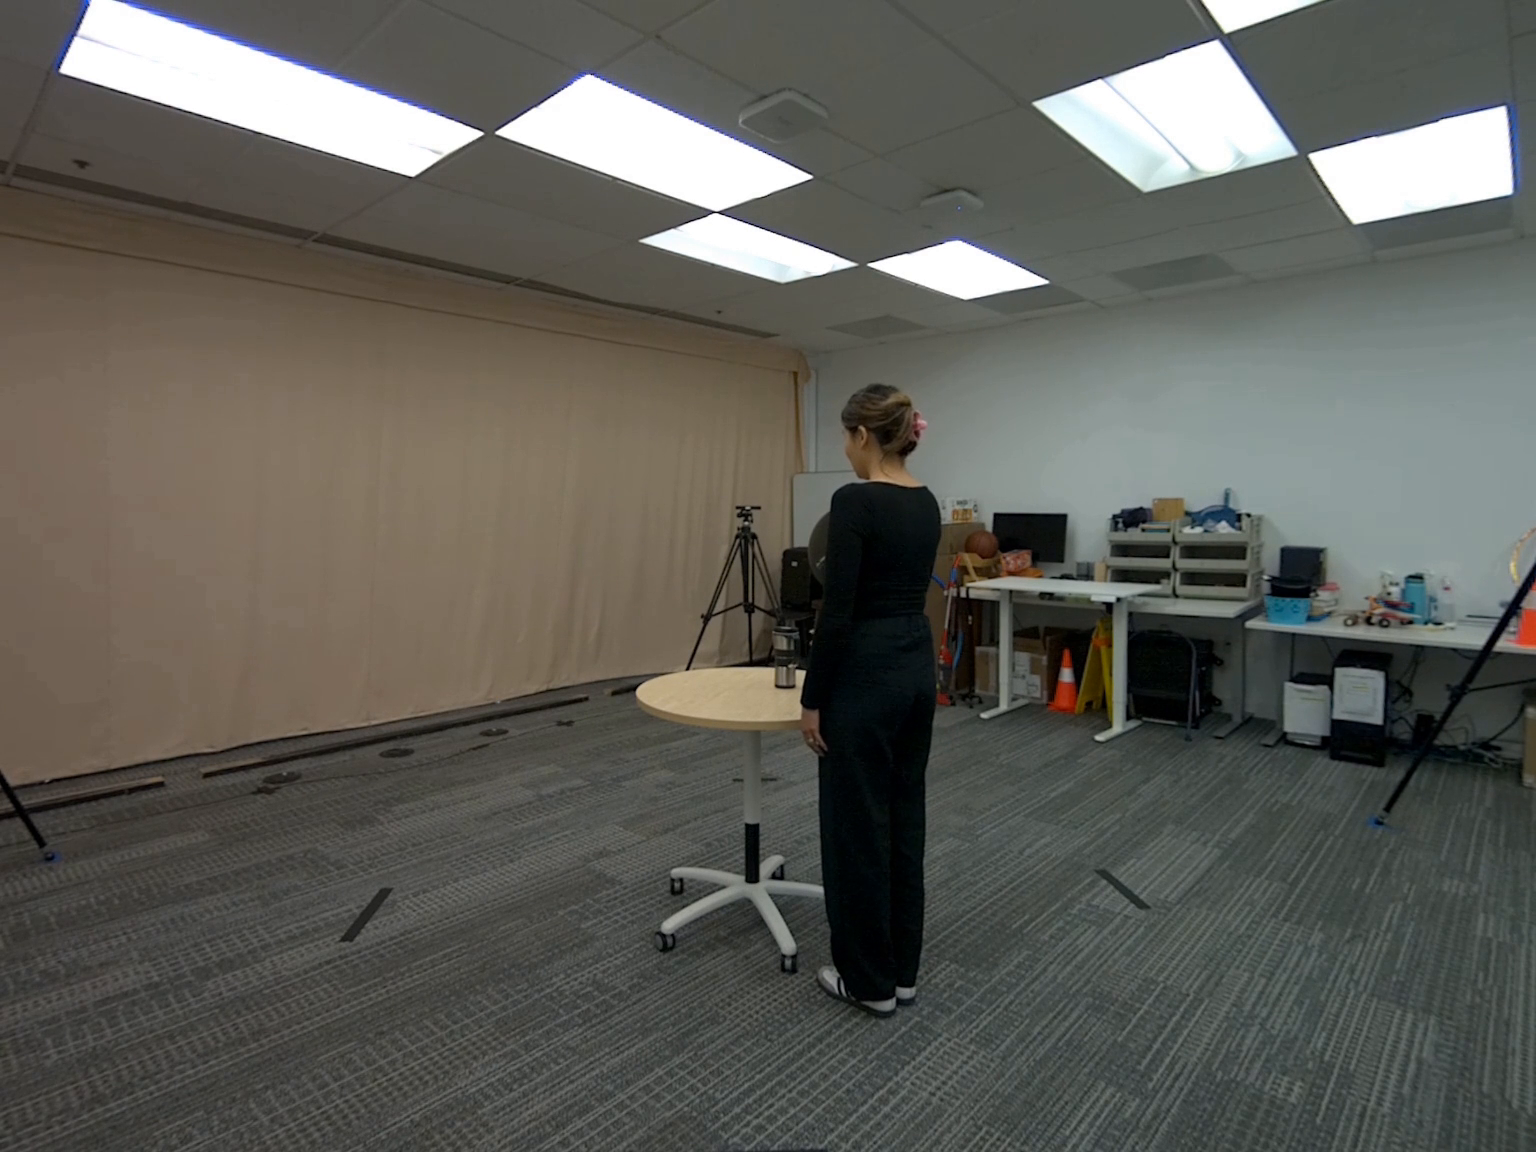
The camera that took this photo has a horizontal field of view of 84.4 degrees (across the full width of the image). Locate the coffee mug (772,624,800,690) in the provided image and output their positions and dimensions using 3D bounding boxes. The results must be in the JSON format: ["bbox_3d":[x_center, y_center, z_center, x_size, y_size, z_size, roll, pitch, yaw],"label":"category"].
[{"bbox_3d":[0.054,0.278,2.809,0.090,0.202,0.120,7,4,17],"label":"coffee mug"}]
